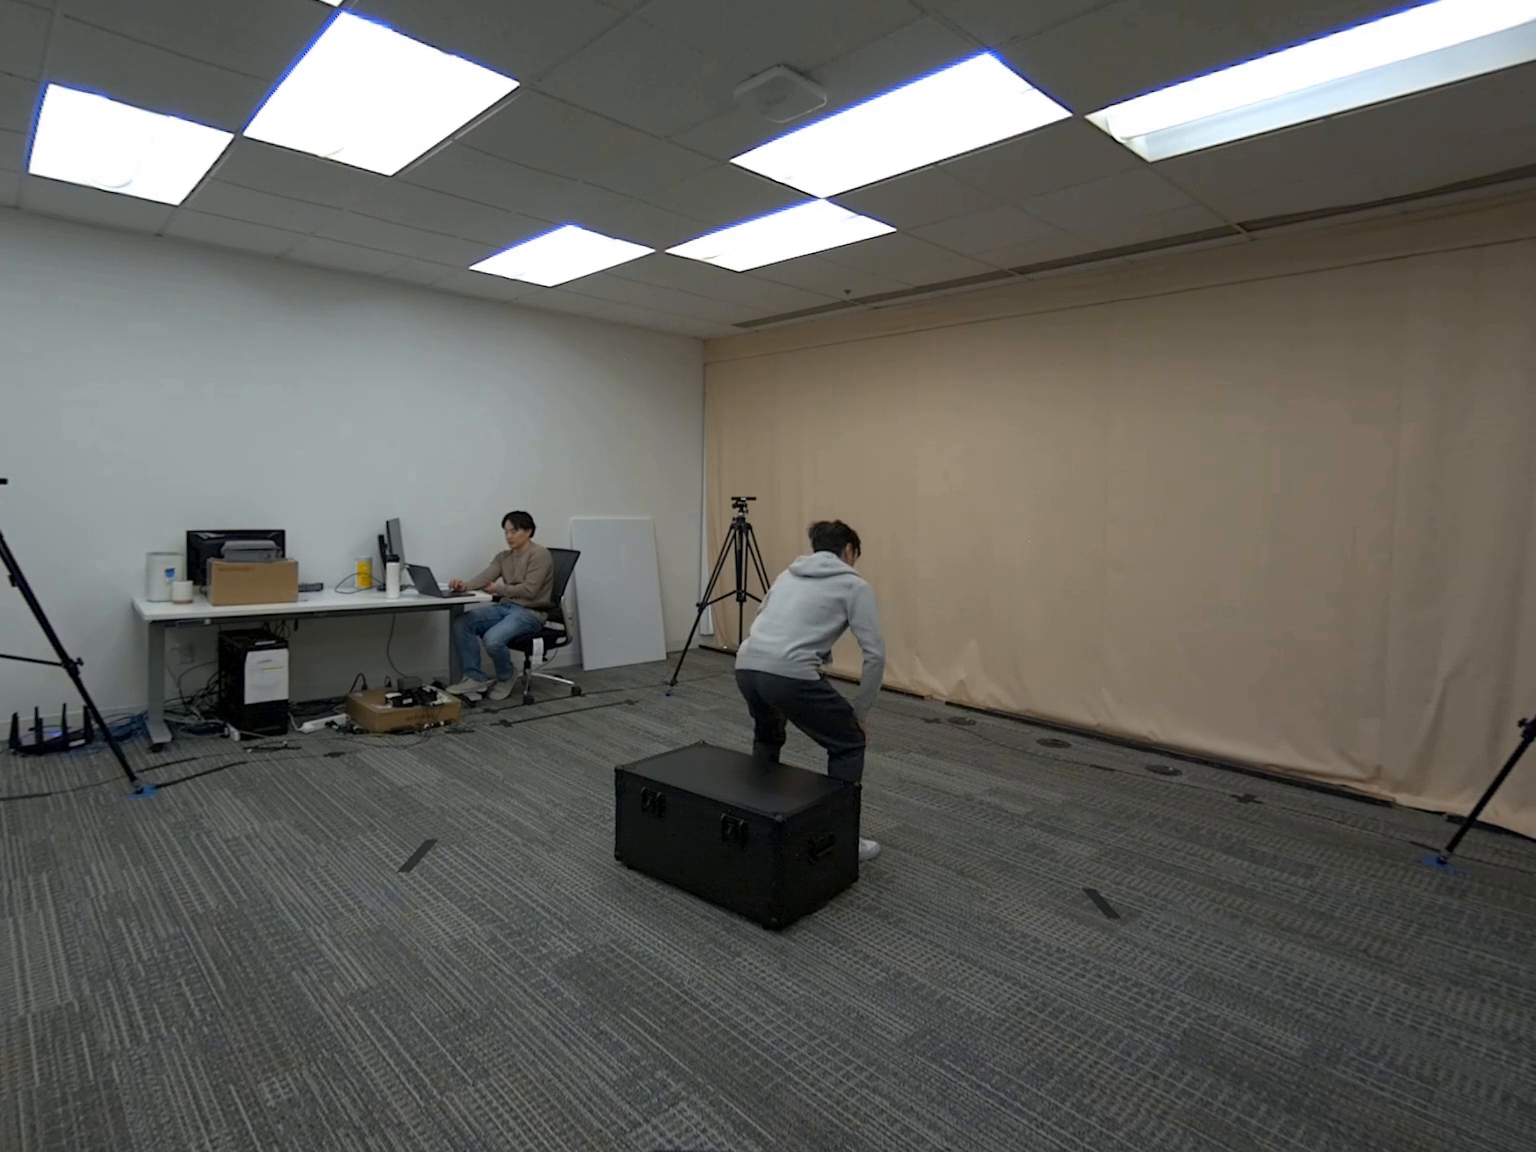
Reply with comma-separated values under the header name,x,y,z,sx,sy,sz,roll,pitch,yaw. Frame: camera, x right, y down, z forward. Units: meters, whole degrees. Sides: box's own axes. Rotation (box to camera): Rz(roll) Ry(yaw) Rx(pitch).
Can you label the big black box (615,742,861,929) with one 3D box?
name,x,y,z,sx,sy,sz,roll,pitch,yaw
big black box,-0.113,0.923,3.067,0.883,0.395,0.509,5,5,40
